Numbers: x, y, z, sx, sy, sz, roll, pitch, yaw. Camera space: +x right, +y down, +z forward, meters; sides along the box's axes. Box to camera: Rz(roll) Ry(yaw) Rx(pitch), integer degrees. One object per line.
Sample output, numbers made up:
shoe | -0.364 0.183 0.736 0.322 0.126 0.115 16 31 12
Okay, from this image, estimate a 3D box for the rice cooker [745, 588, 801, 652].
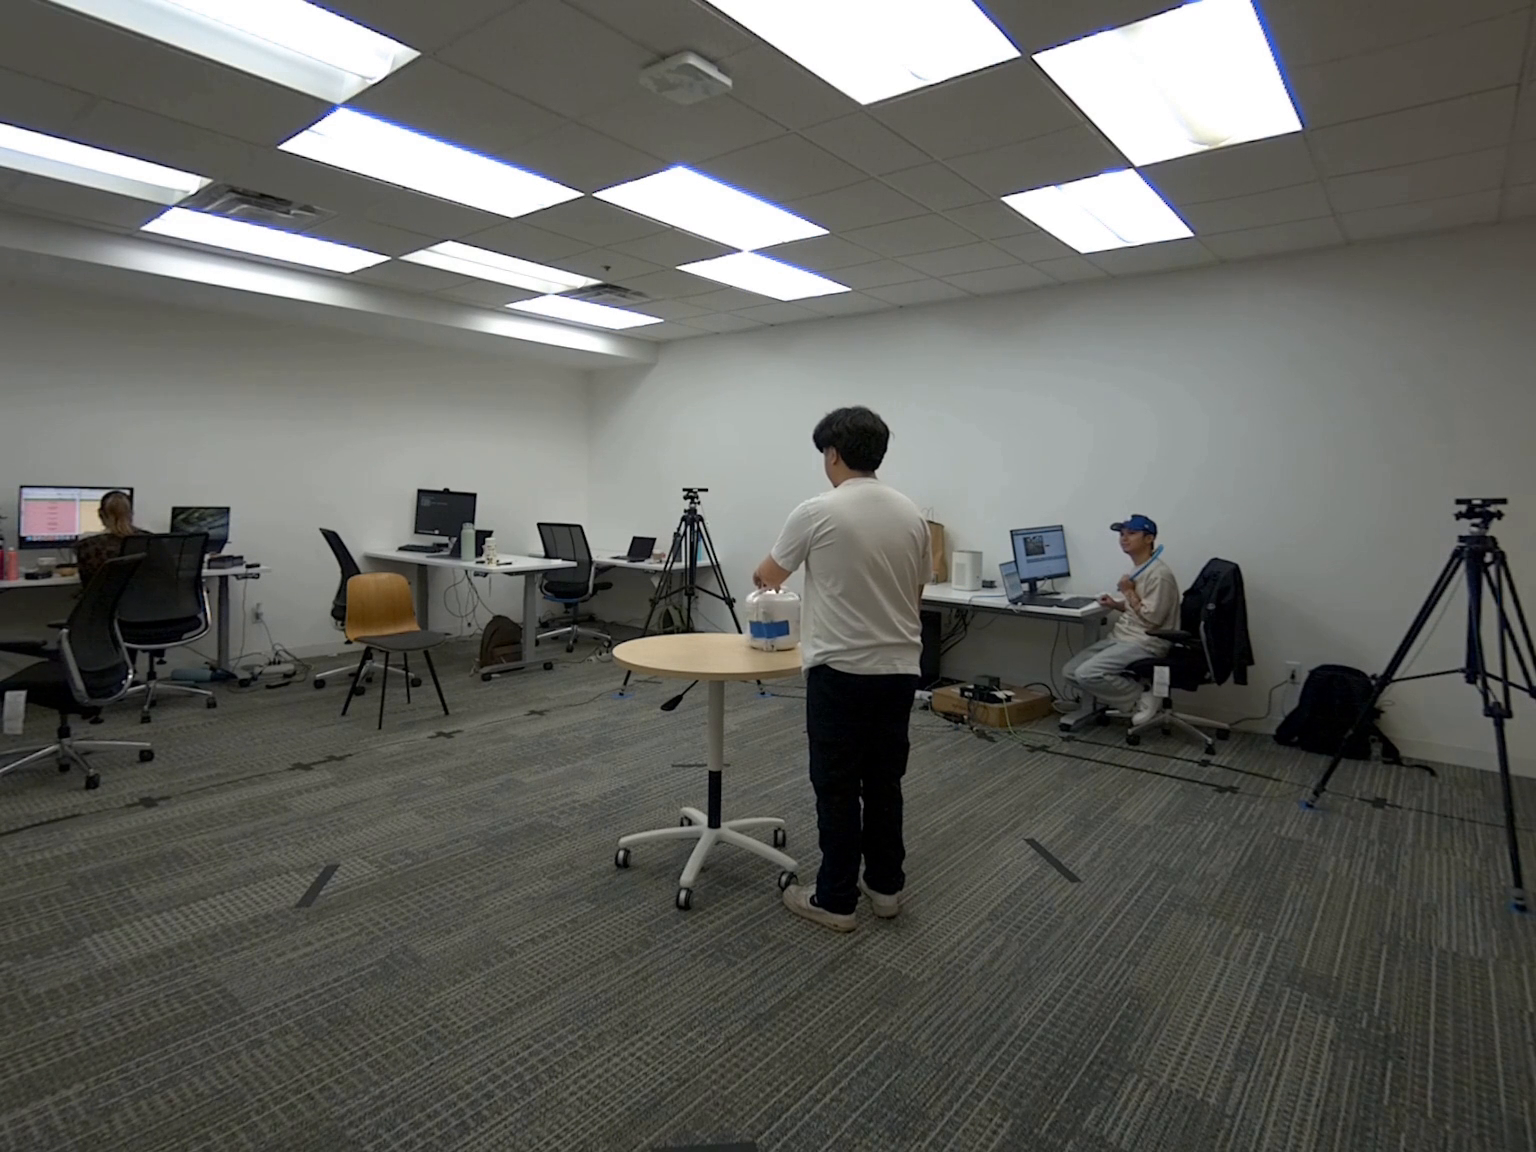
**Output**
rice cooker | 0.006 0.148 3.210 0.214 0.232 0.224 -2 6 -35
